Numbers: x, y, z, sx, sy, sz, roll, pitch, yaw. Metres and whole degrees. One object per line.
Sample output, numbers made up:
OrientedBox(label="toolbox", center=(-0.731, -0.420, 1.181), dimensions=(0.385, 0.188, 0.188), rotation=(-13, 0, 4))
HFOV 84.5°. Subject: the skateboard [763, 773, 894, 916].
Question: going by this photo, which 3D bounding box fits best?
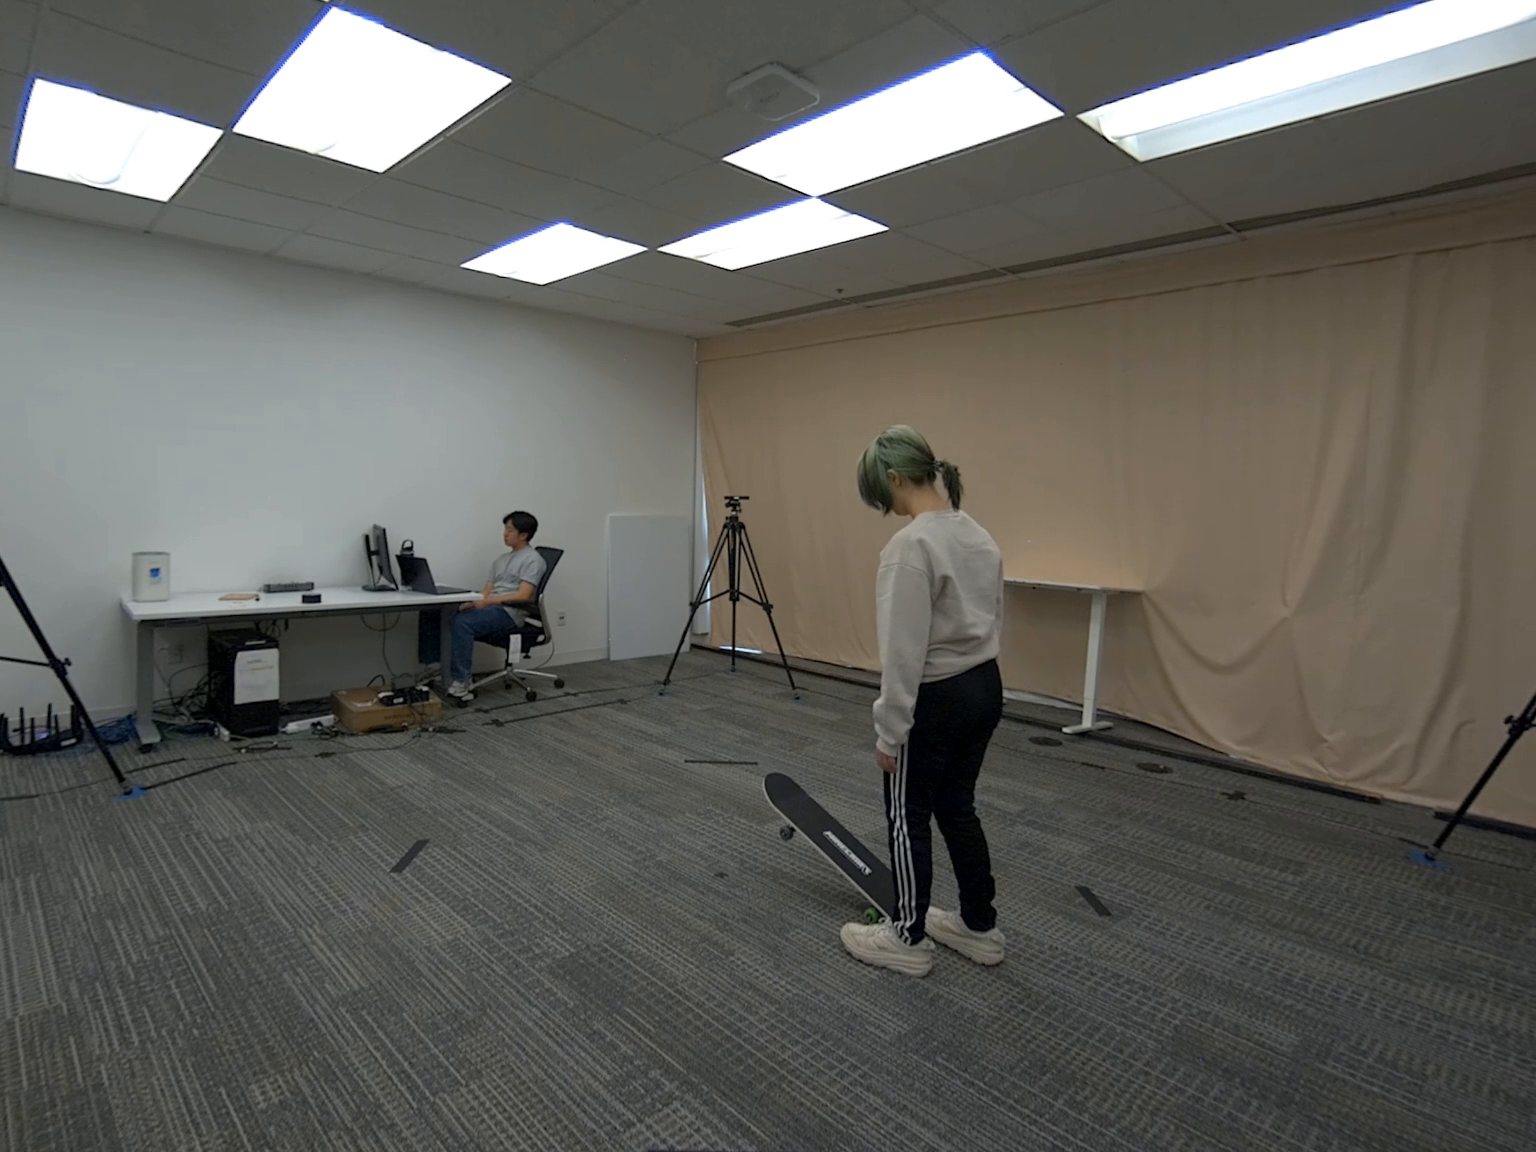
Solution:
OrientedBox(label="skateboard", center=(0.255, 0.990, 2.929), dimensions=(0.808, 0.109, 0.189), rotation=(38, 24, 31))
